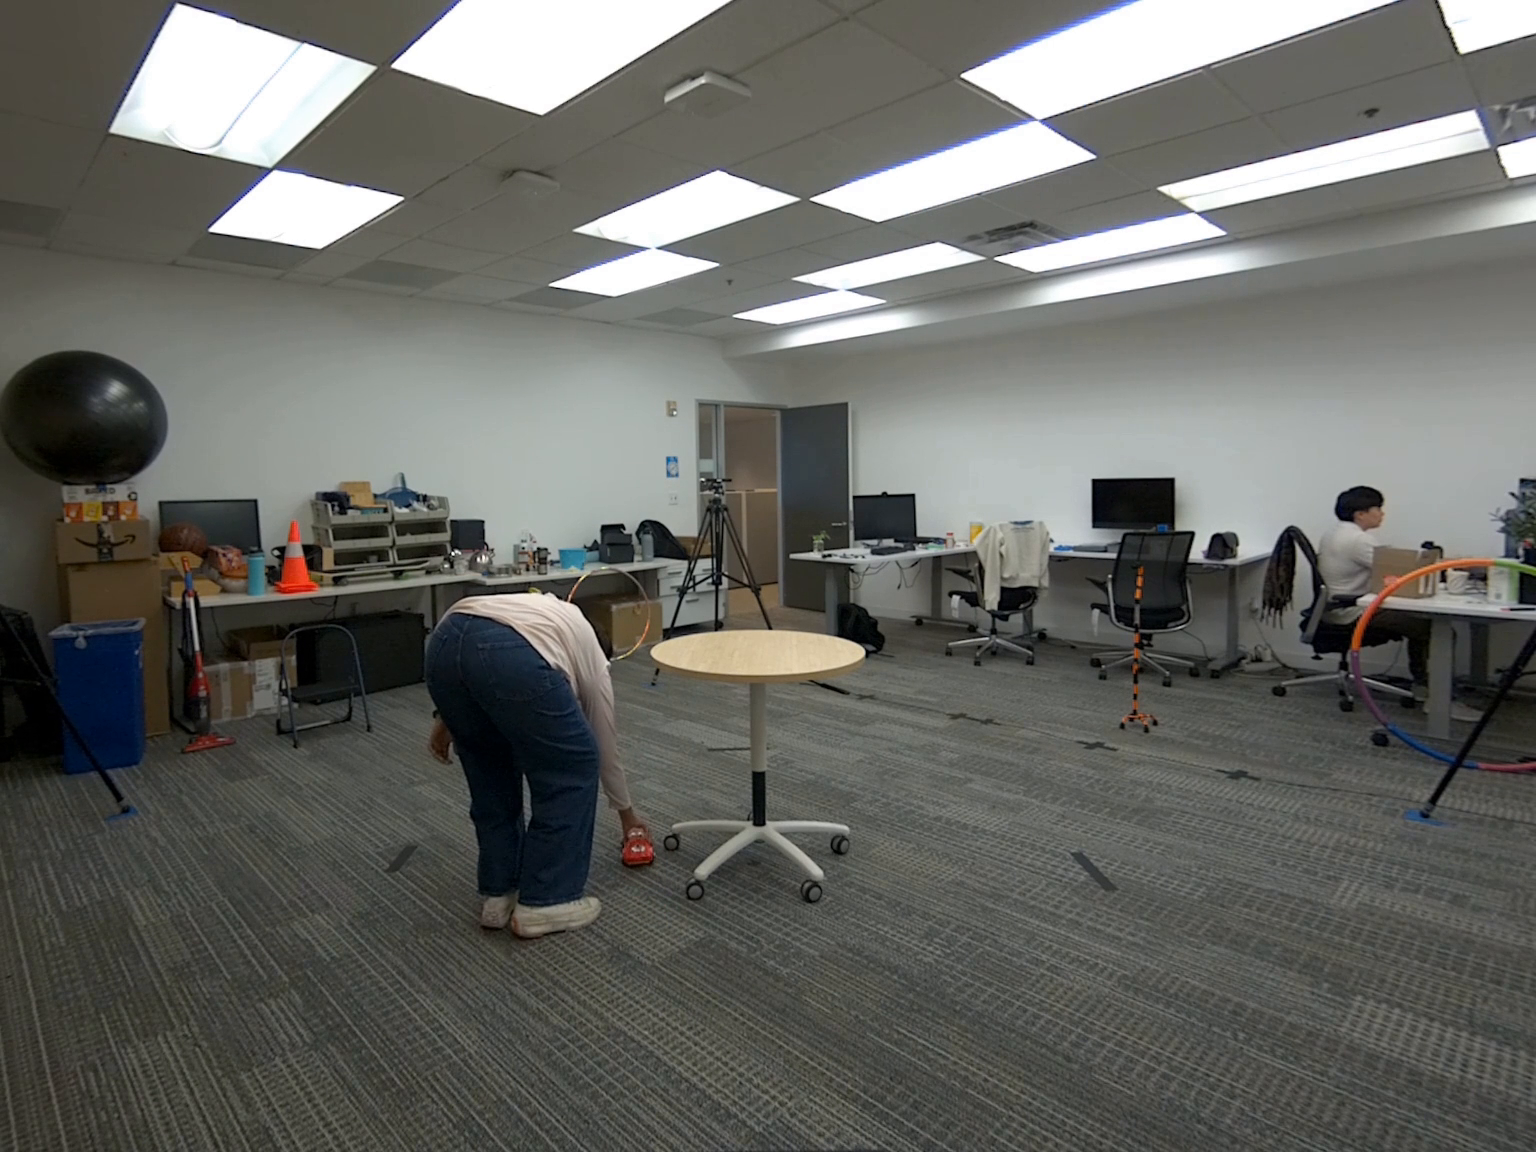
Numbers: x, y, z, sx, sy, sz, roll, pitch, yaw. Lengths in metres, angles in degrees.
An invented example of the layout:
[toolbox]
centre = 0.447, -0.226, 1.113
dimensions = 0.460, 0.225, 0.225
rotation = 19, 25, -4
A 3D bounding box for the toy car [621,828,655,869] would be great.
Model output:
[toy car]
centre = -0.482, 1.013, 3.161
dimensions = 0.129, 0.083, 0.255
rotation = -2, -4, -9
